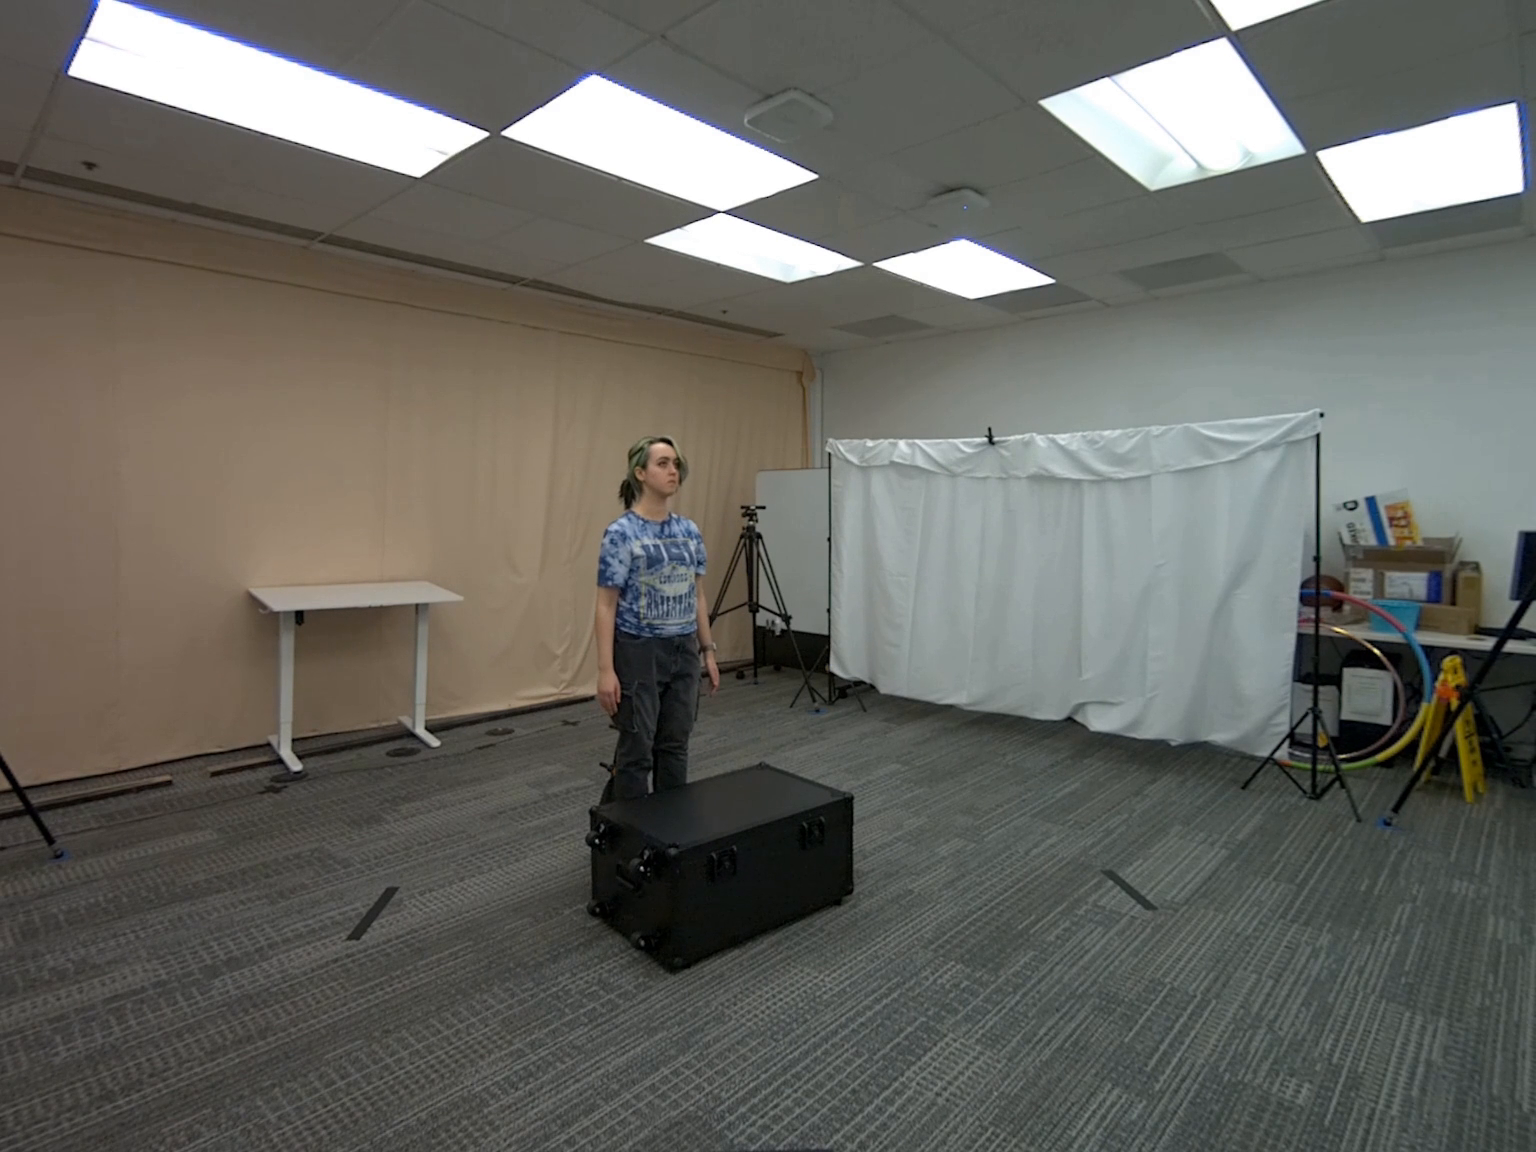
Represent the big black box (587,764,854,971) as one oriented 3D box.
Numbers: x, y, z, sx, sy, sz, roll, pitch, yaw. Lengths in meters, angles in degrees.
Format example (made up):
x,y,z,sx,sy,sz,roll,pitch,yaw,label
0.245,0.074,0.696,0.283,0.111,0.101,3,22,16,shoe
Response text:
x,y,z,sx,sy,sz,roll,pitch,yaw,label
-0.169,0.964,2.881,0.835,0.395,0.538,-3,5,-39,big black box
